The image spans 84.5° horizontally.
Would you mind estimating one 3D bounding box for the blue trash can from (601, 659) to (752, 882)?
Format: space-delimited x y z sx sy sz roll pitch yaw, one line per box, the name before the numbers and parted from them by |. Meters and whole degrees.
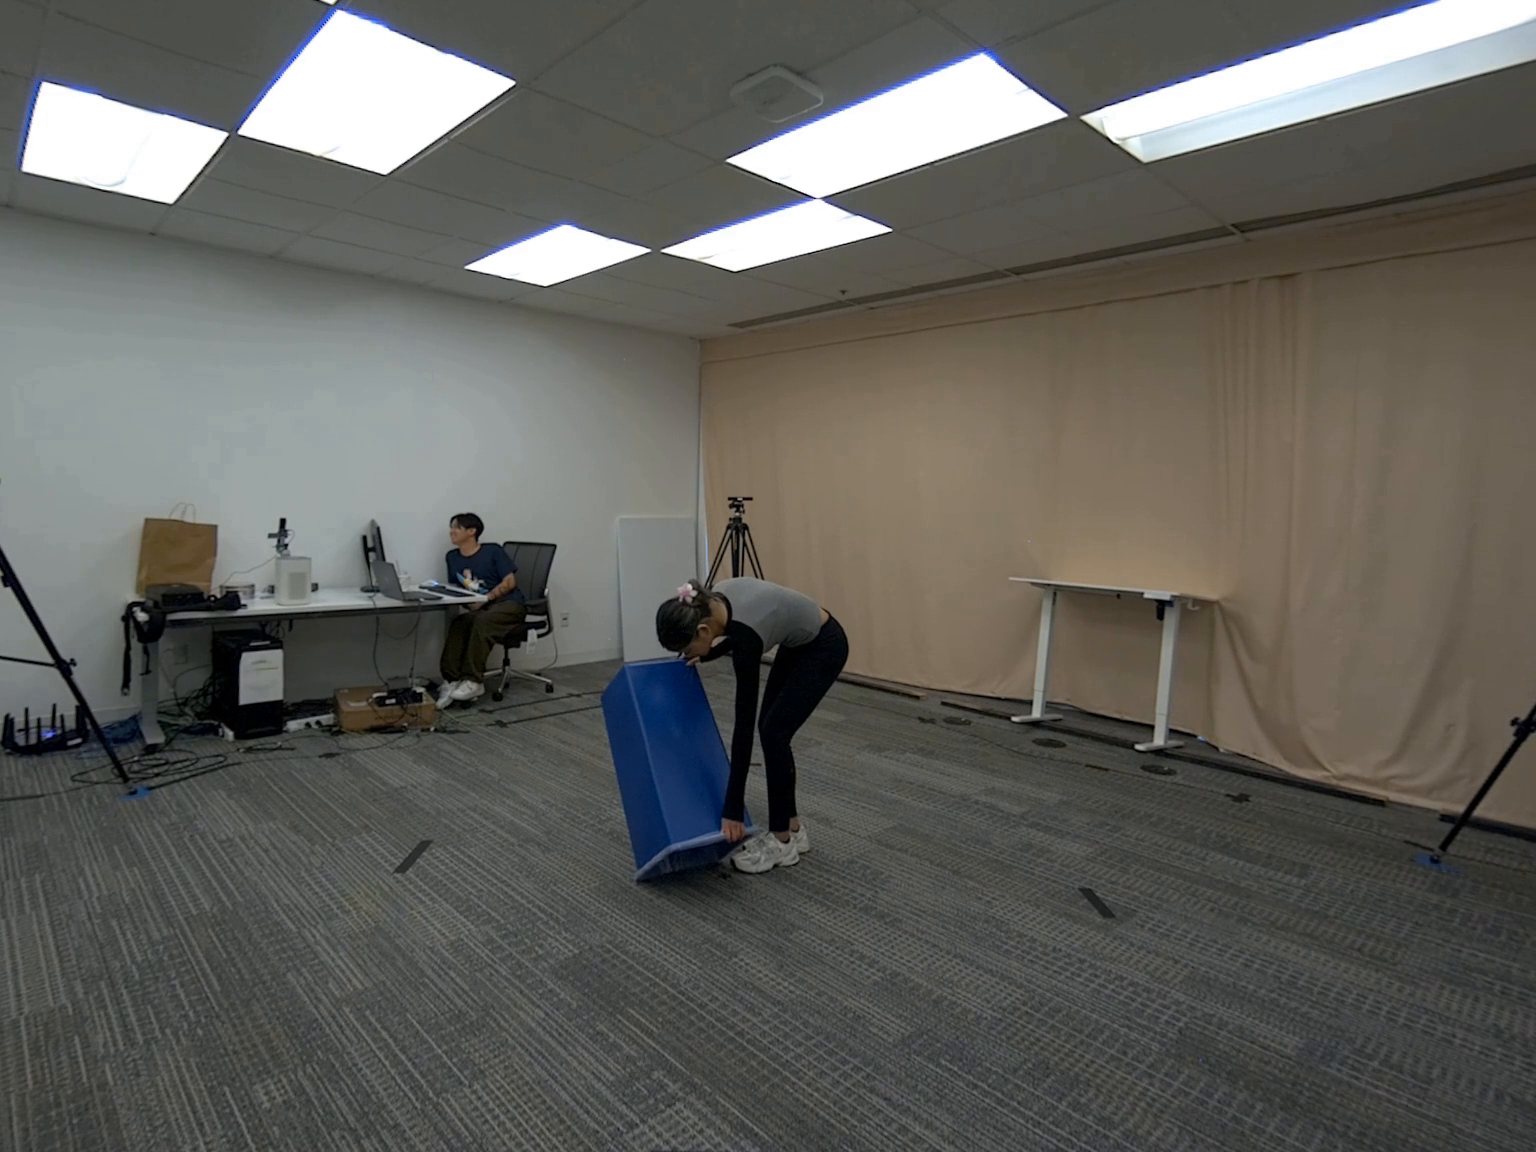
blue trash can | -0.378 0.708 3.174 0.370 0.730 0.373 -2 -32 -32
